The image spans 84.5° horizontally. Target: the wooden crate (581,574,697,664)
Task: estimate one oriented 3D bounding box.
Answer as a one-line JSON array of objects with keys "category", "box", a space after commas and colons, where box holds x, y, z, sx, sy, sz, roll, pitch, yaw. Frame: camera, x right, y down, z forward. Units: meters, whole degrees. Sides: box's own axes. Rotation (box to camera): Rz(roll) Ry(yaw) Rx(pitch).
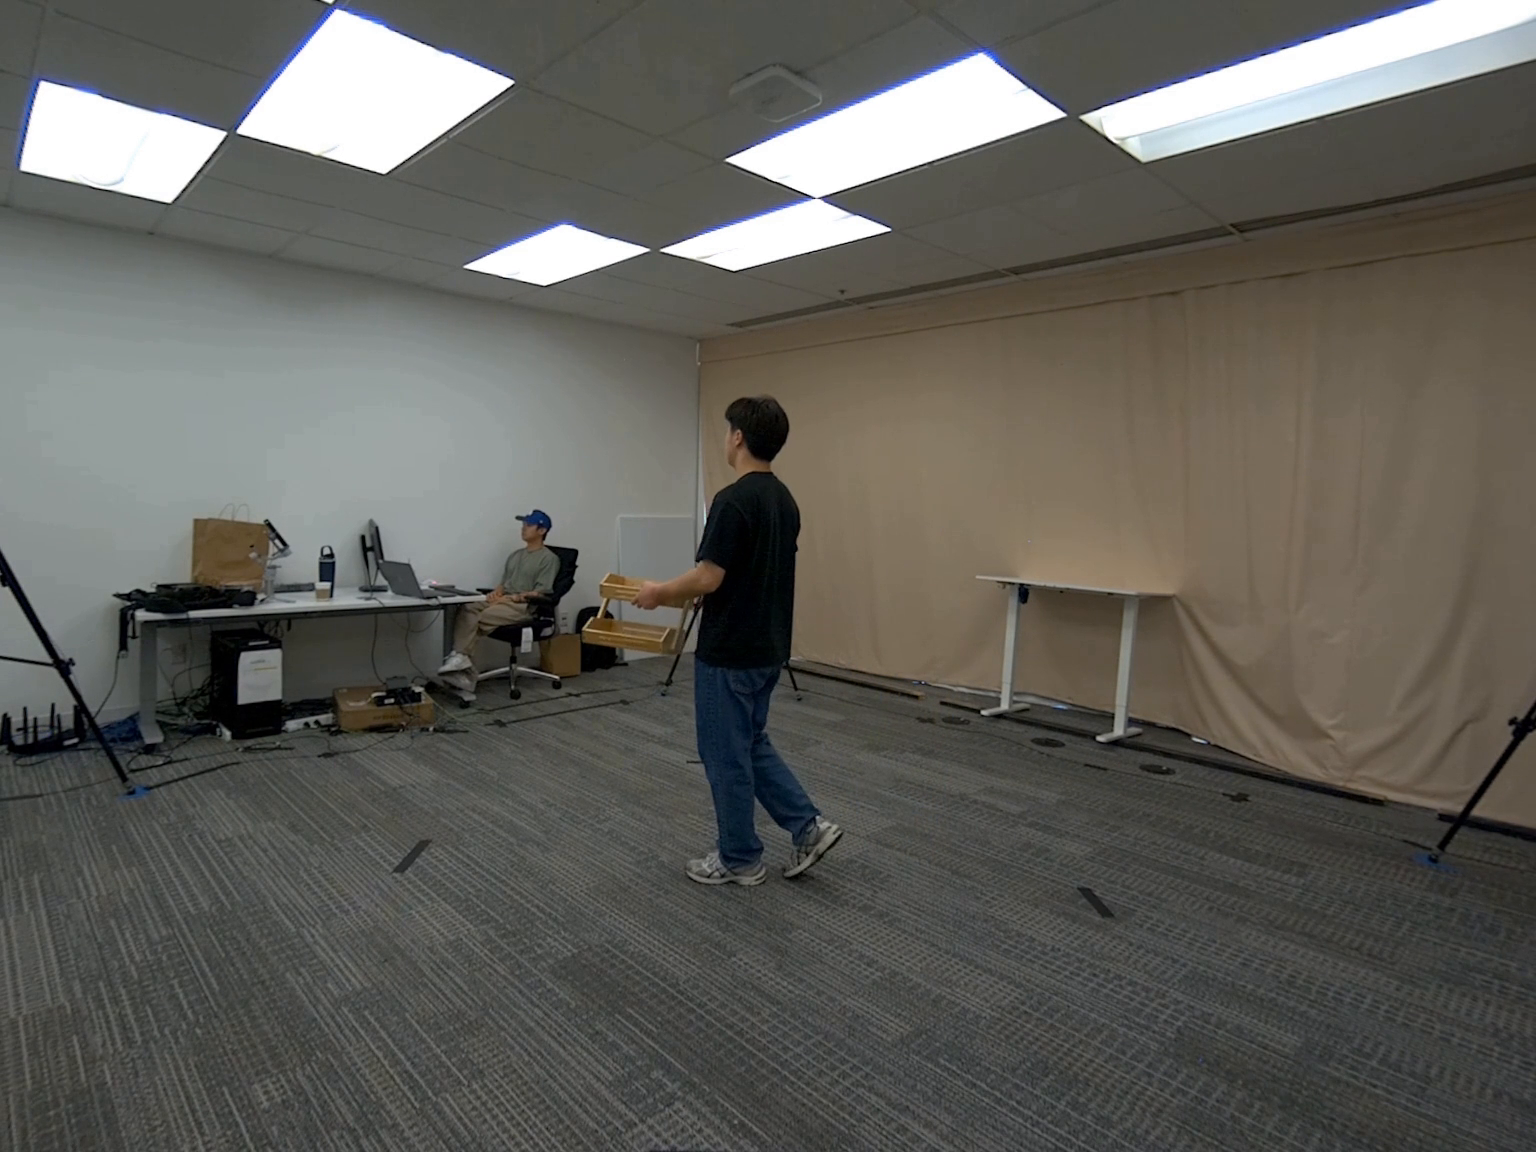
[{"category": "wooden crate", "box": [-0.467, 0.134, 3.069, 0.329, 0.274, 0.297, 7, -5, 15]}]
